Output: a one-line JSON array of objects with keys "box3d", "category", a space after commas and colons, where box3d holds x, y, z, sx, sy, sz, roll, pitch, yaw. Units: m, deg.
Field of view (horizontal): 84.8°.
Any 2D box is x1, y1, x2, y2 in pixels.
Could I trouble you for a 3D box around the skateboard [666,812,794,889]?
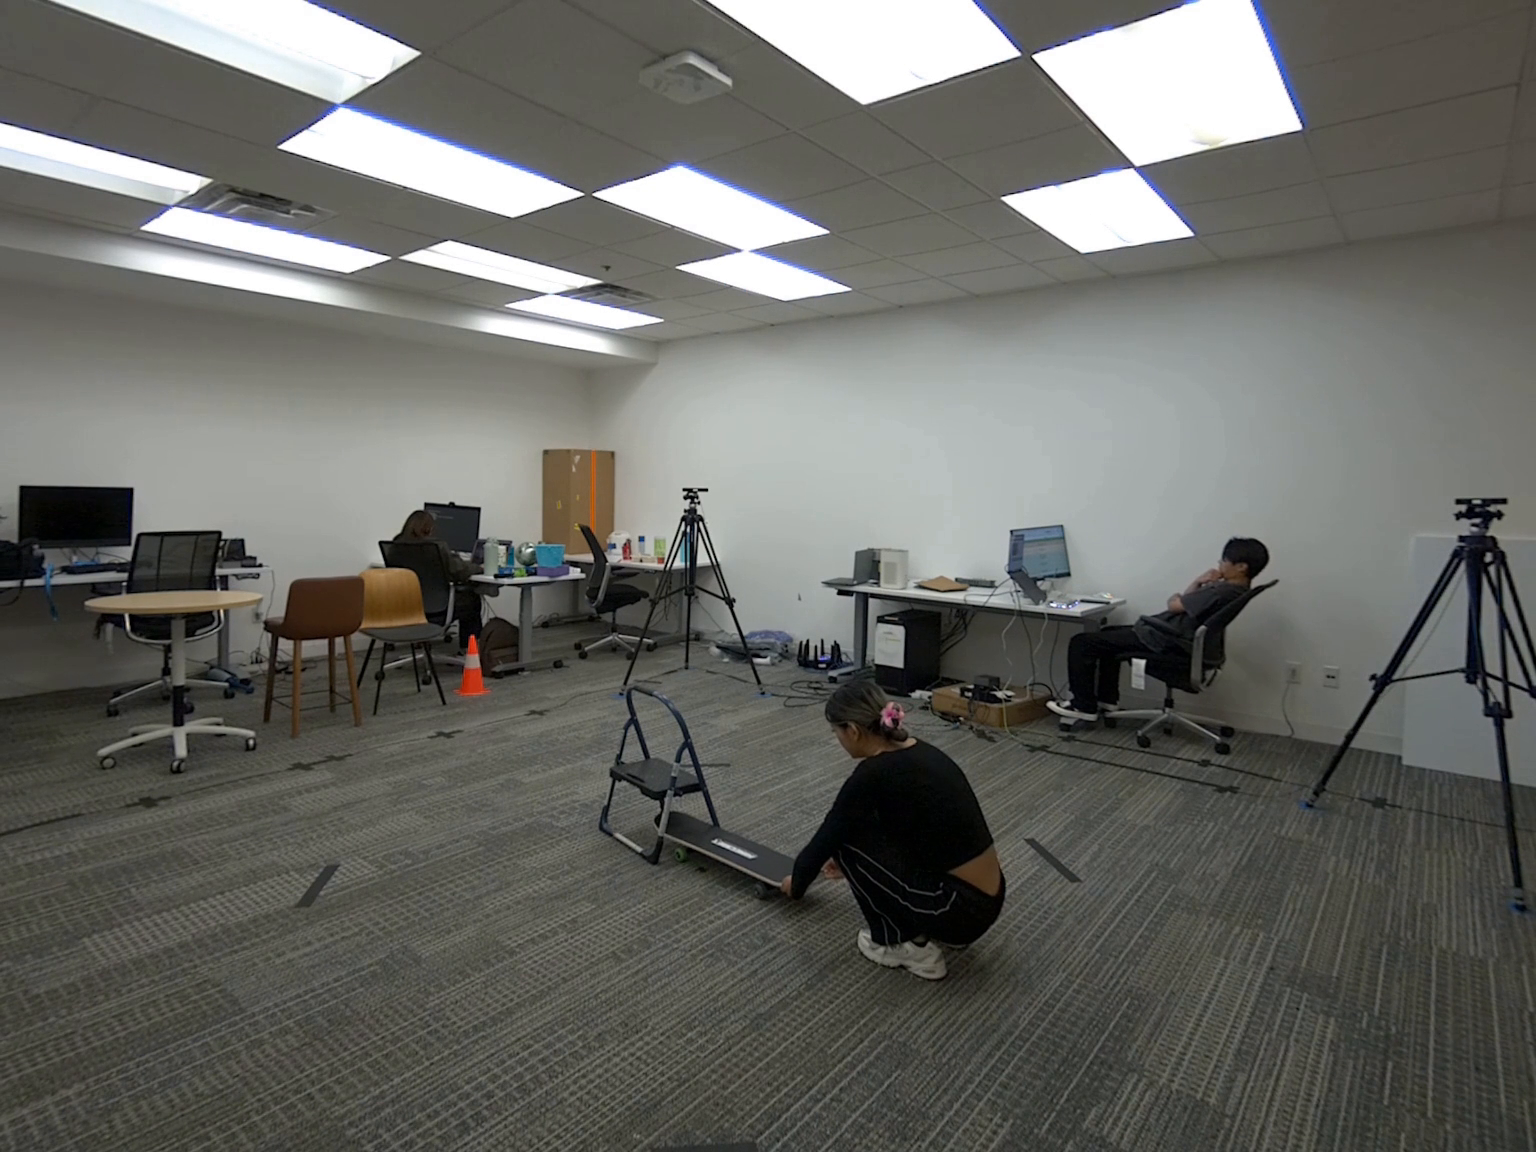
[{"box3d": [-0.137, 1.013, 3.081, 0.813, 0.110, 0.188, 6, 8, 43], "category": "skateboard"}]
